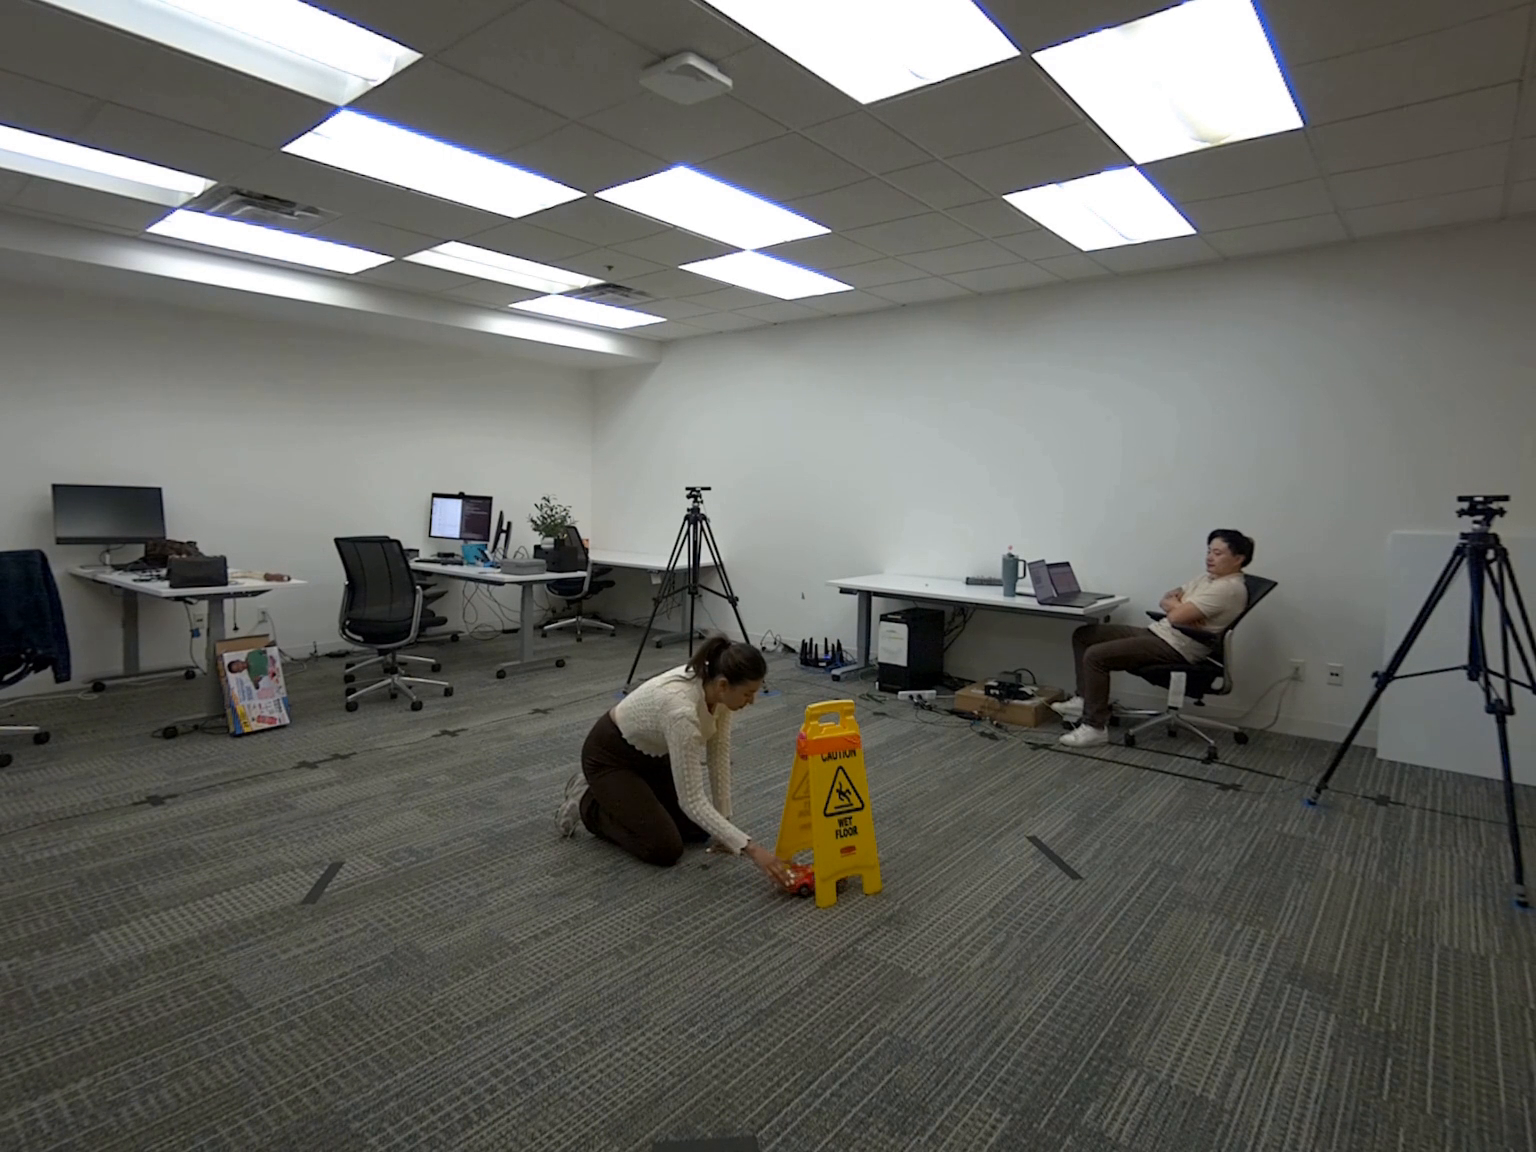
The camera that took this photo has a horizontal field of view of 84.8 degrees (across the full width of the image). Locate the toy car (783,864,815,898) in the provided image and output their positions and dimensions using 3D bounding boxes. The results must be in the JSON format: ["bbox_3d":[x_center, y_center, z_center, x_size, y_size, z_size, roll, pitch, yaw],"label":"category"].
[{"bbox_3d":[0.118,1.057,2.970,0.248,0.083,0.134,8,3,-22],"label":"toy car"}]
